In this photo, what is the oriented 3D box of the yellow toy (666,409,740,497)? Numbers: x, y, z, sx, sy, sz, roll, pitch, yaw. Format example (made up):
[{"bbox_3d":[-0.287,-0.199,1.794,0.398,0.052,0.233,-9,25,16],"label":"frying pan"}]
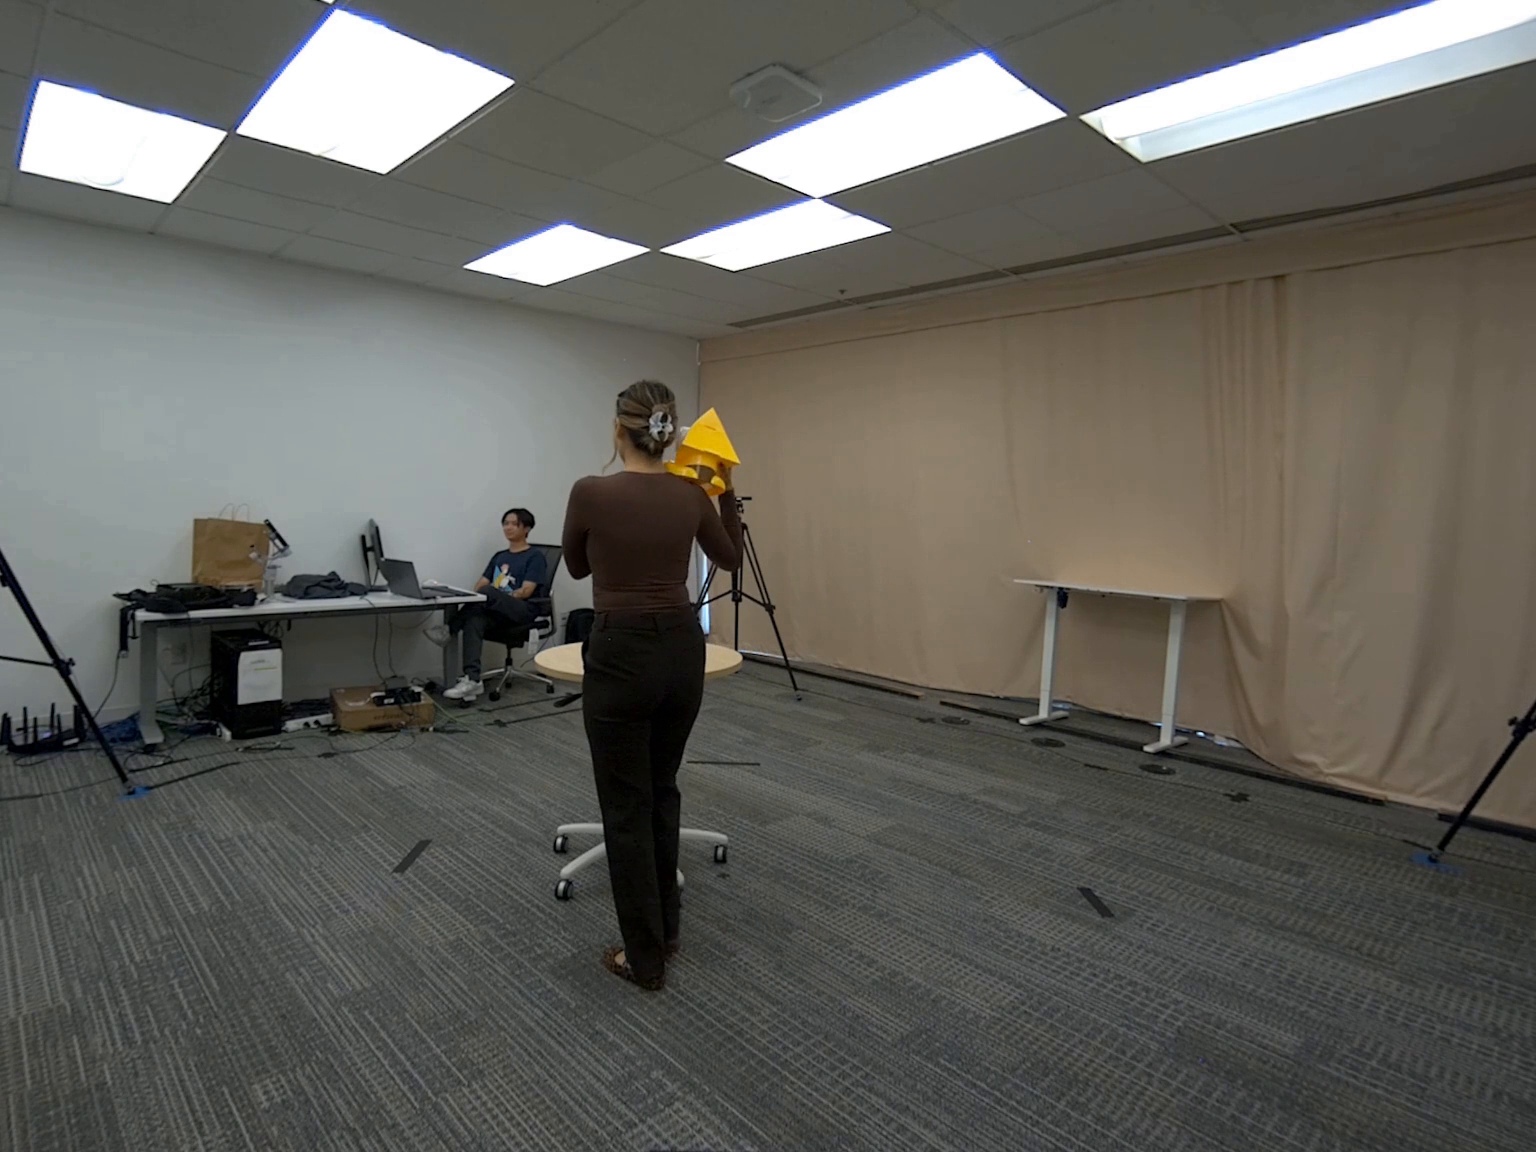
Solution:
[{"bbox_3d":[-0.218,-0.379,2.514,0.199,0.232,0.197,16,-15,-35],"label":"yellow toy"}]
